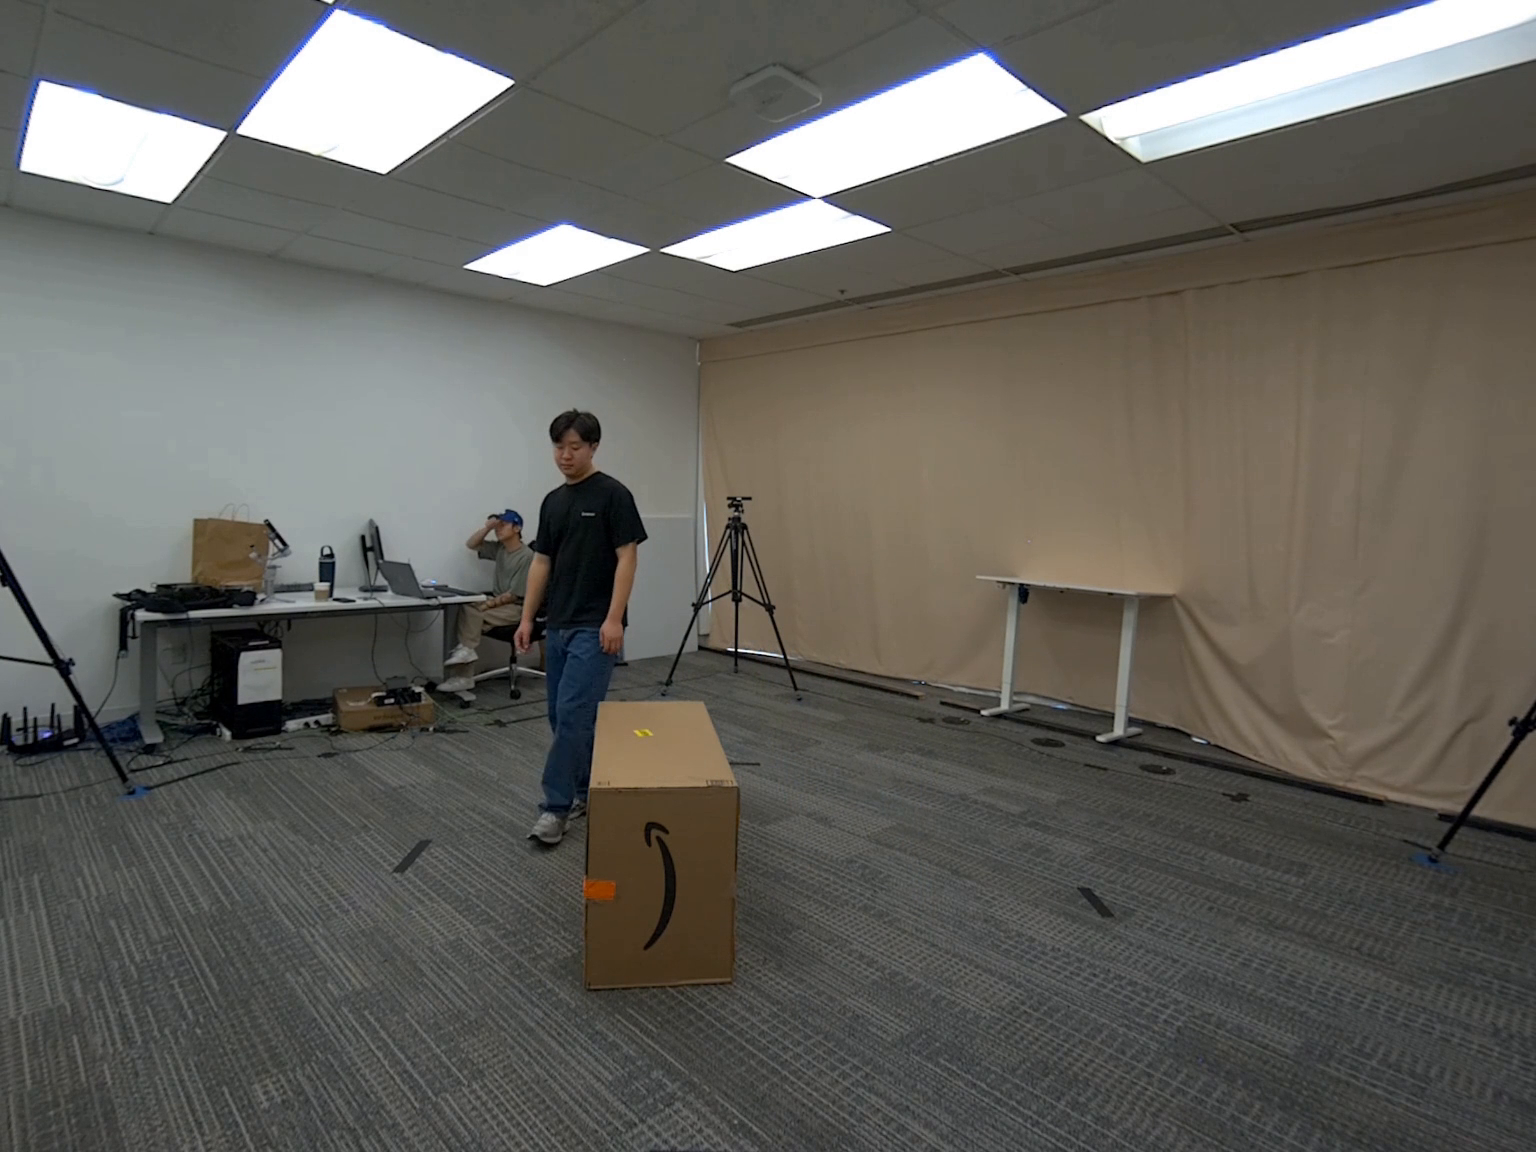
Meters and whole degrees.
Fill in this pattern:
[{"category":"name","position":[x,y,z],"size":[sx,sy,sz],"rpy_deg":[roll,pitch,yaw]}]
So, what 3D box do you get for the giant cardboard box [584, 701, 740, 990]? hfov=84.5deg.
[{"category":"giant cardboard box","position":[-0.392,0.835,2.876],"size":[0.443,0.582,1.037],"rpy_deg":[0,4,-10]}]
